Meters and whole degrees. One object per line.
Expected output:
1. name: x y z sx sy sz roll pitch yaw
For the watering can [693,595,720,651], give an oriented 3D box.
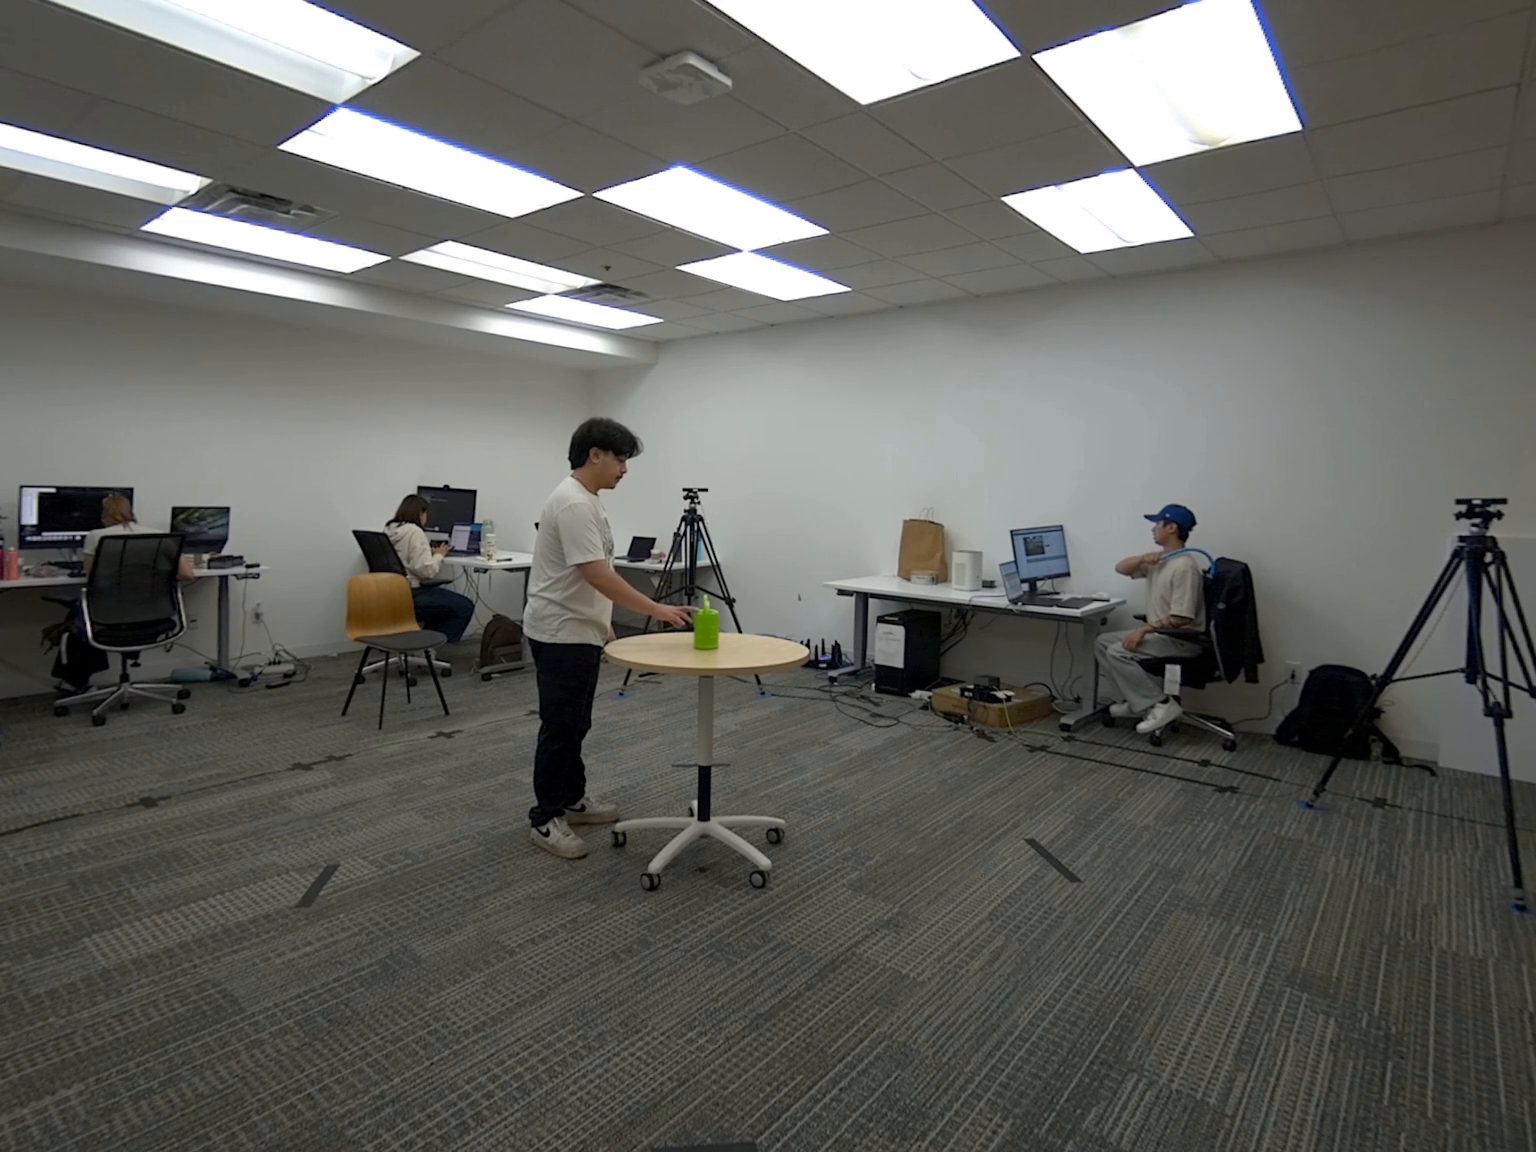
1. watering can: -0.241 0.183 3.256 0.099 0.176 0.277 2 3 5
